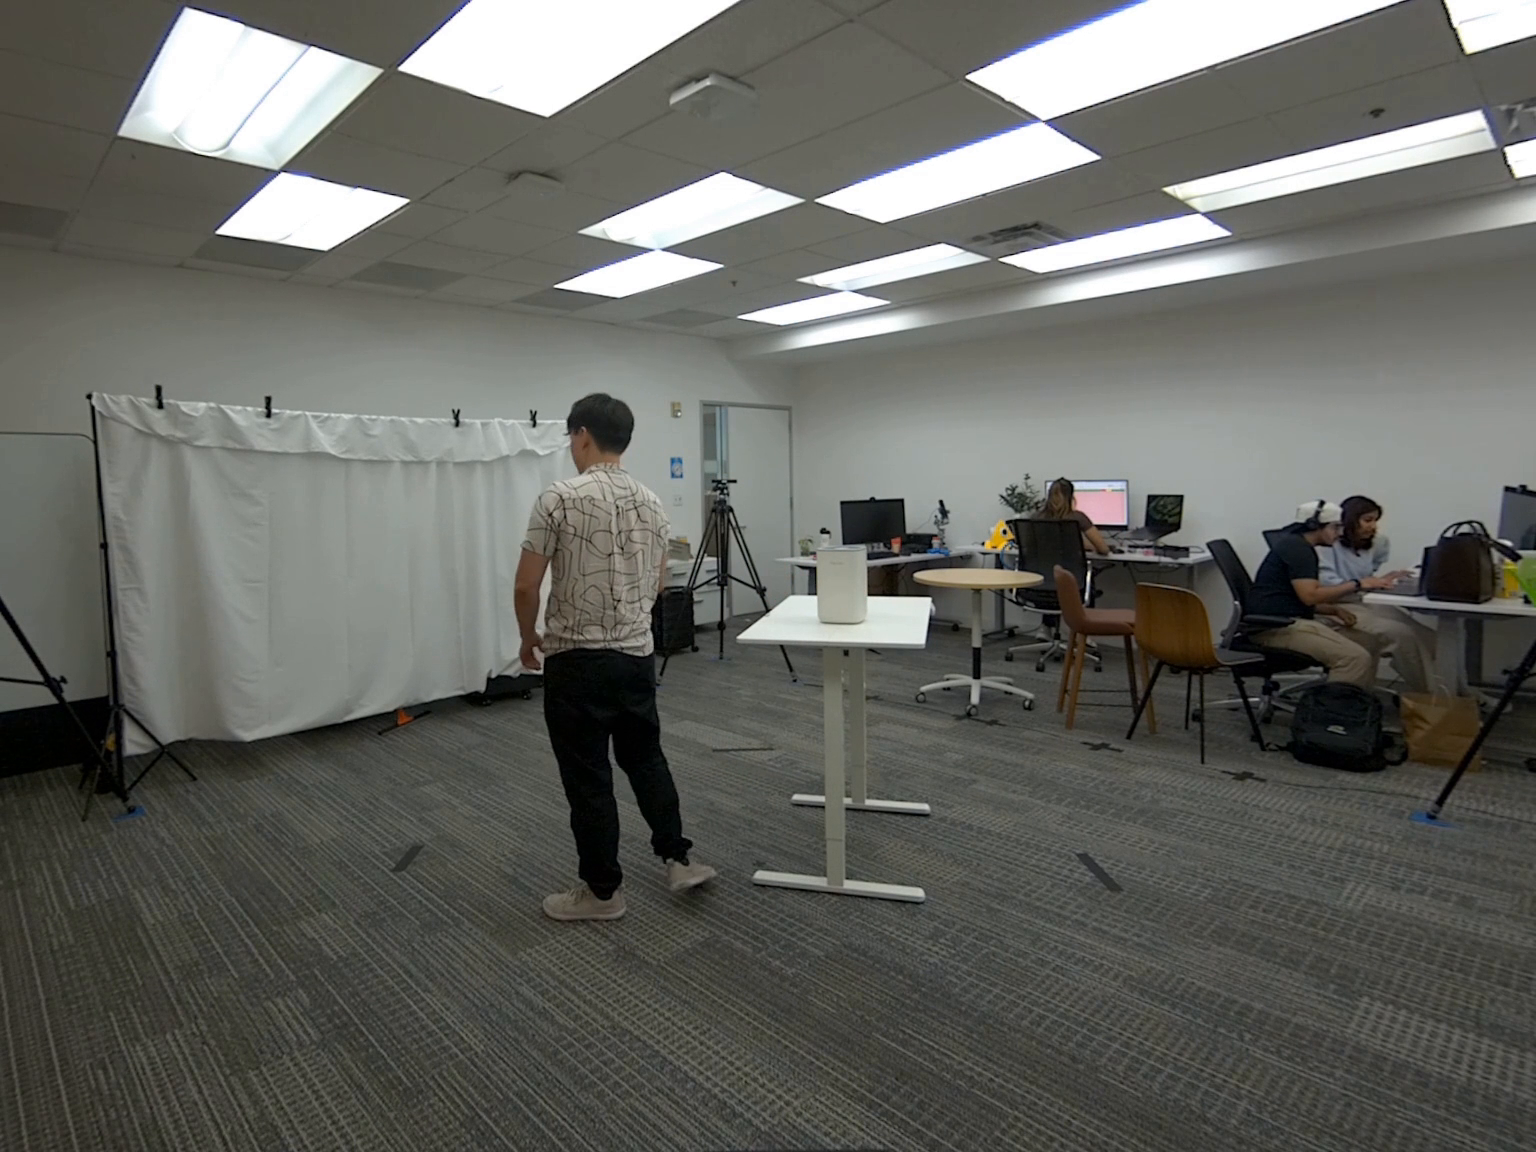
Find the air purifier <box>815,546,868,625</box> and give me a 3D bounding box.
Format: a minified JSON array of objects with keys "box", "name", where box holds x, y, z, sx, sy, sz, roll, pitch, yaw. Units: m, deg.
[{"box":[0.276,0.032,3.080,0.173,0.264,0.170,0,5,14],"name":"air purifier"}]
